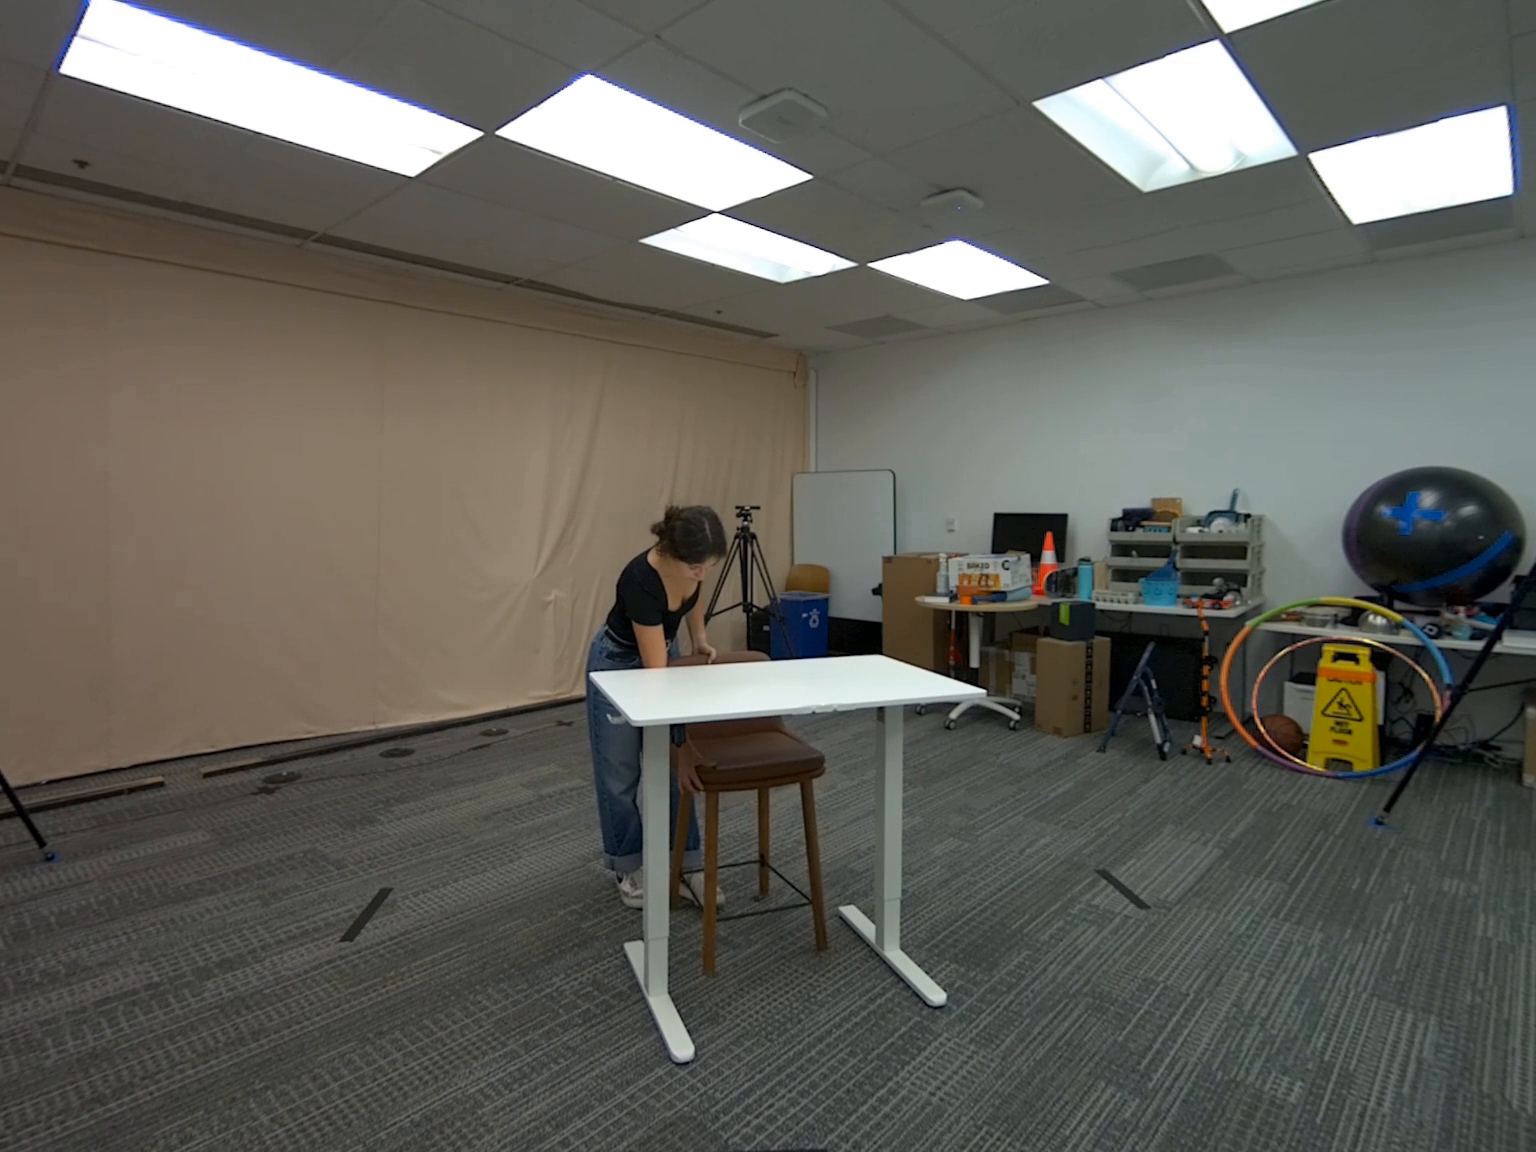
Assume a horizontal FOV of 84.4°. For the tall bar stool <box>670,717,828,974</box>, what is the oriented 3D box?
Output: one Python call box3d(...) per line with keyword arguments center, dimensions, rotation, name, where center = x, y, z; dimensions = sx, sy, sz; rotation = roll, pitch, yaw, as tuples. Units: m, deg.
box3d(center=(-0.082, 0.731, 2.752), dimensions=(0.447, 0.889, 0.477), rotation=(-1, 1, -21), name="tall bar stool")
